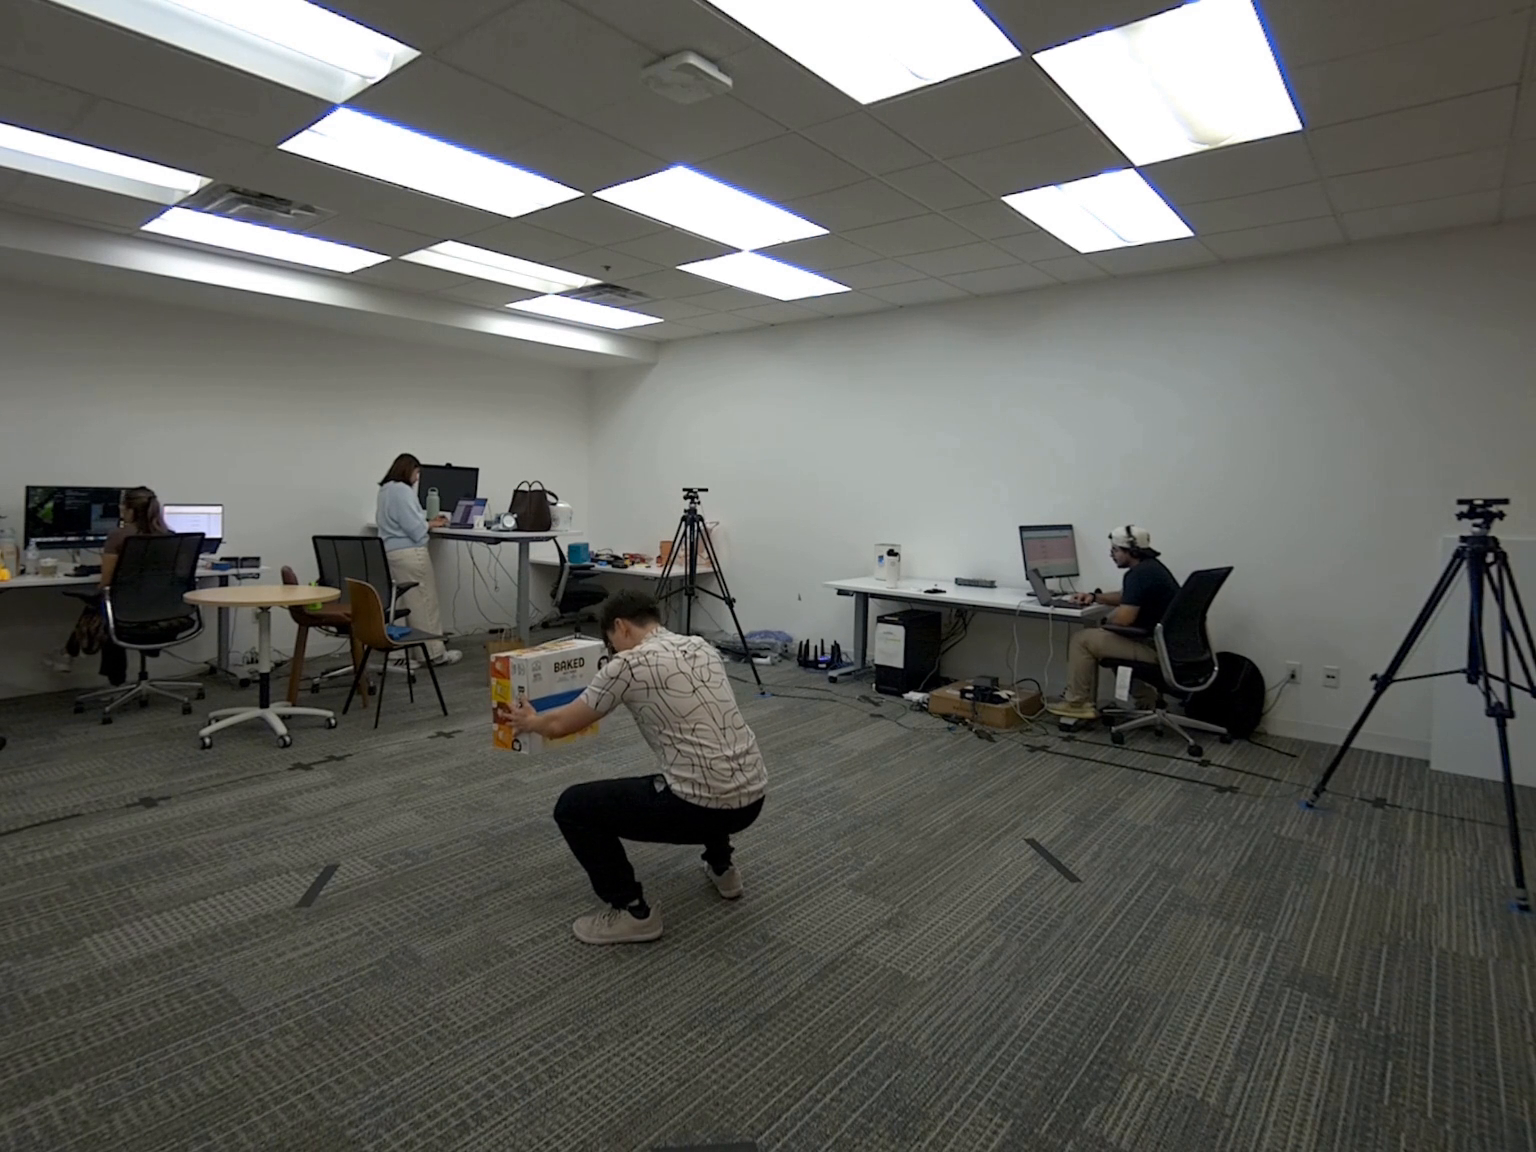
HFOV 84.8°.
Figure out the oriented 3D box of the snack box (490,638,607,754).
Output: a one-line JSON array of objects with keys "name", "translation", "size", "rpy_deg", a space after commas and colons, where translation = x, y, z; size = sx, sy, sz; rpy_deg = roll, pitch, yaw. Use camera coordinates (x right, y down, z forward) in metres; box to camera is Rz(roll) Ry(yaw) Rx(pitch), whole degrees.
[{"name": "snack box", "translation": [-0.827, 0.434, 3.204], "size": [0.212, 0.340, 0.394], "rpy_deg": [0, 3, 36]}]
